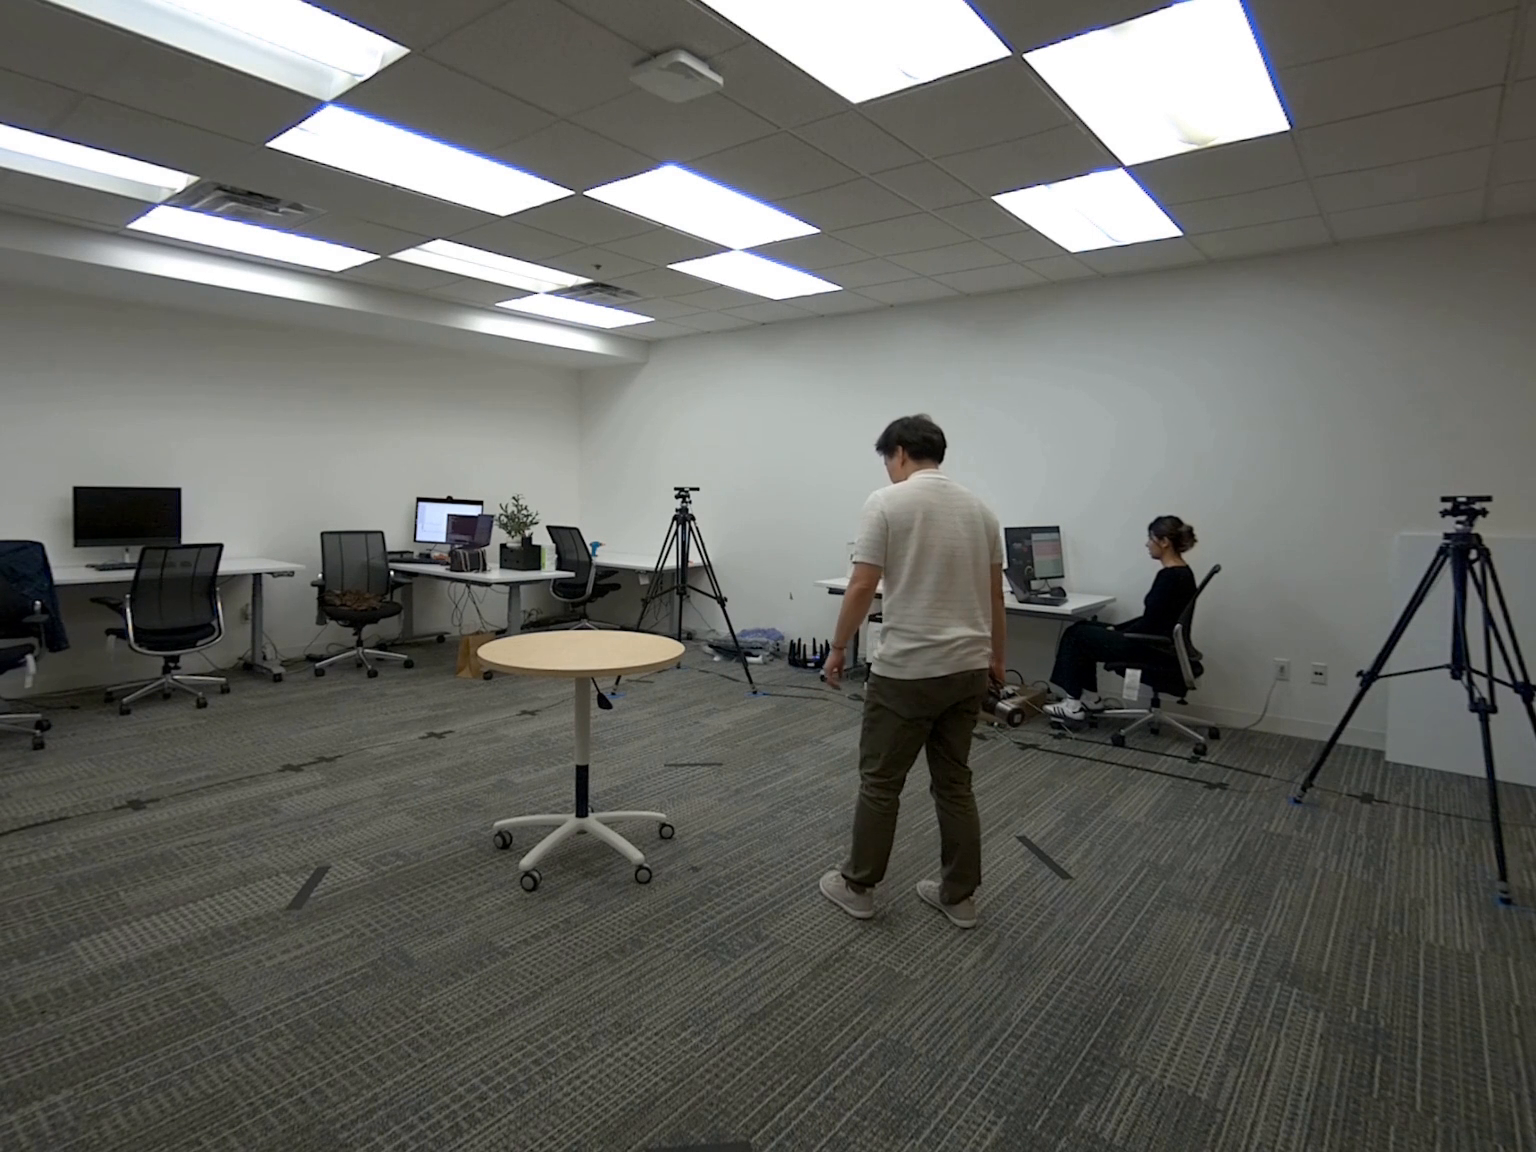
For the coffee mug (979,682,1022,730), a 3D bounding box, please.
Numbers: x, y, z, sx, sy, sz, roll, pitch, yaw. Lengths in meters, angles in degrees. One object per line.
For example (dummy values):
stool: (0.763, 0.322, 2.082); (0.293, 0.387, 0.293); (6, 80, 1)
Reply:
coffee mug: (0.753, 0.419, 2.902); (0.087, 0.119, 0.208); (-35, 20, -9)
